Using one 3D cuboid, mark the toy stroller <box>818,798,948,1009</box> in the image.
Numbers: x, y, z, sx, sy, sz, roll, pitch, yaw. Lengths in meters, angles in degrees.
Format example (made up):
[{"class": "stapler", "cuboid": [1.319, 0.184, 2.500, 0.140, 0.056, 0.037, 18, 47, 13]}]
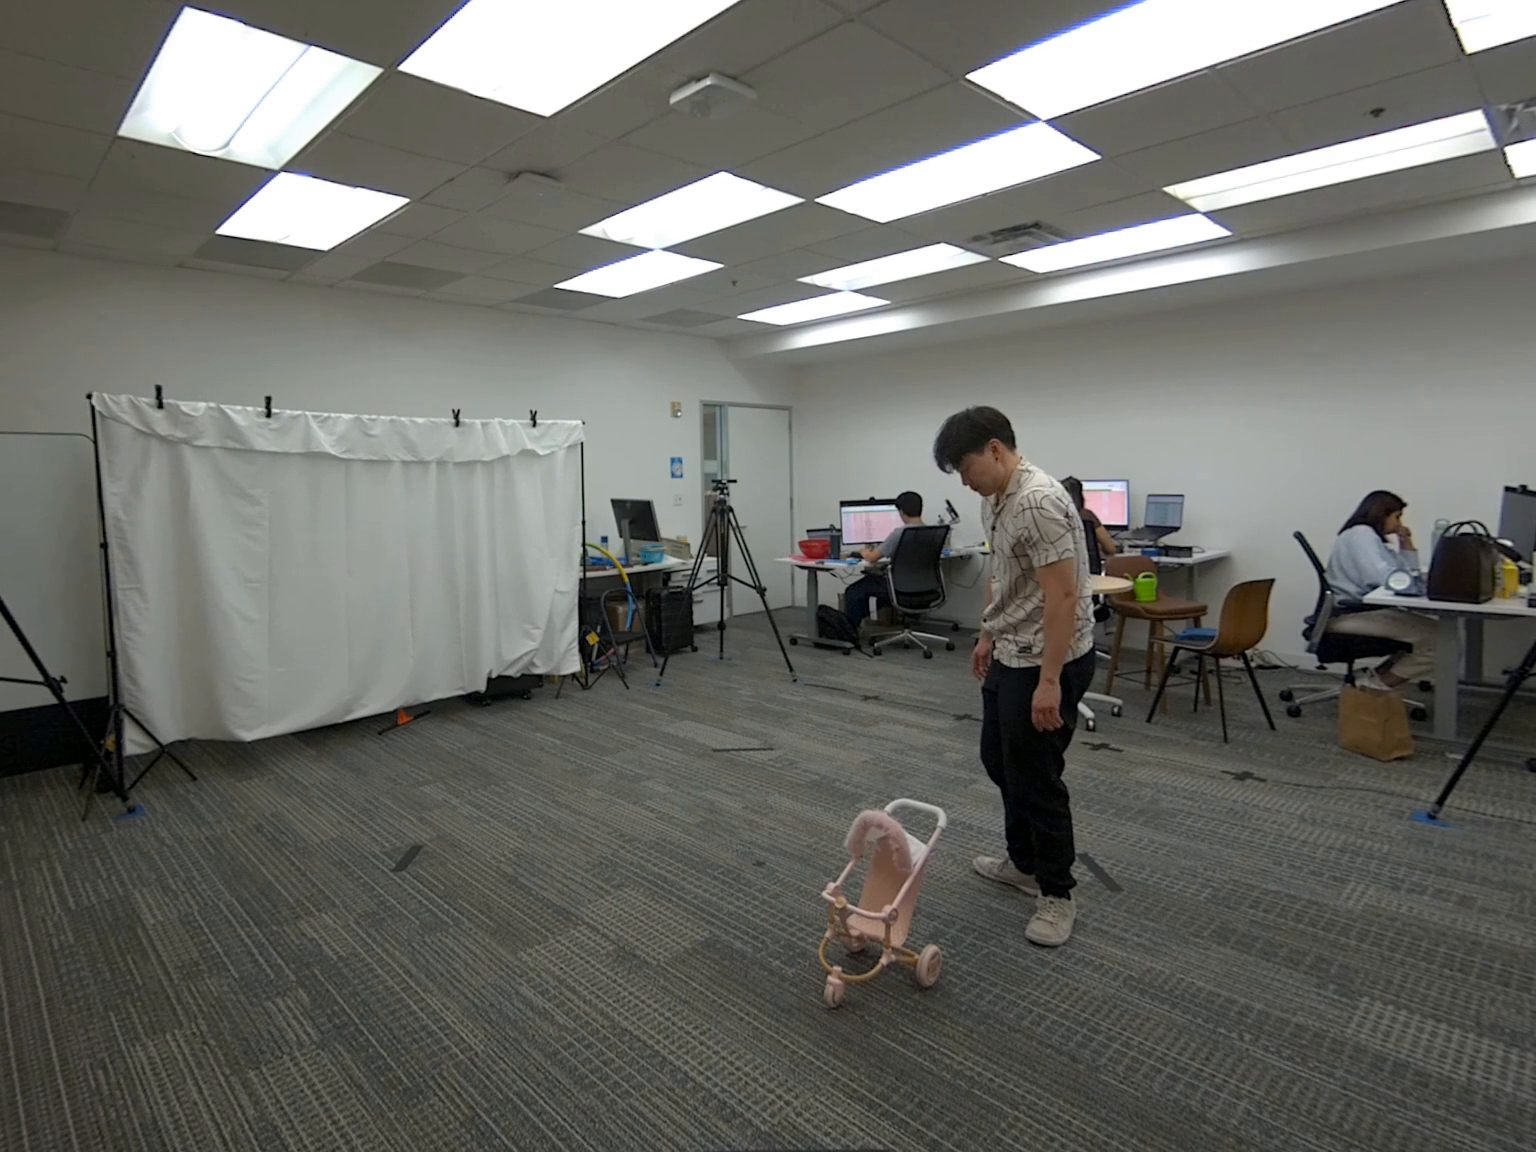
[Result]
[{"class": "toy stroller", "cuboid": [0.308, 0.900, 2.381, 0.329, 0.538, 0.290, 16, -9, -40]}]
